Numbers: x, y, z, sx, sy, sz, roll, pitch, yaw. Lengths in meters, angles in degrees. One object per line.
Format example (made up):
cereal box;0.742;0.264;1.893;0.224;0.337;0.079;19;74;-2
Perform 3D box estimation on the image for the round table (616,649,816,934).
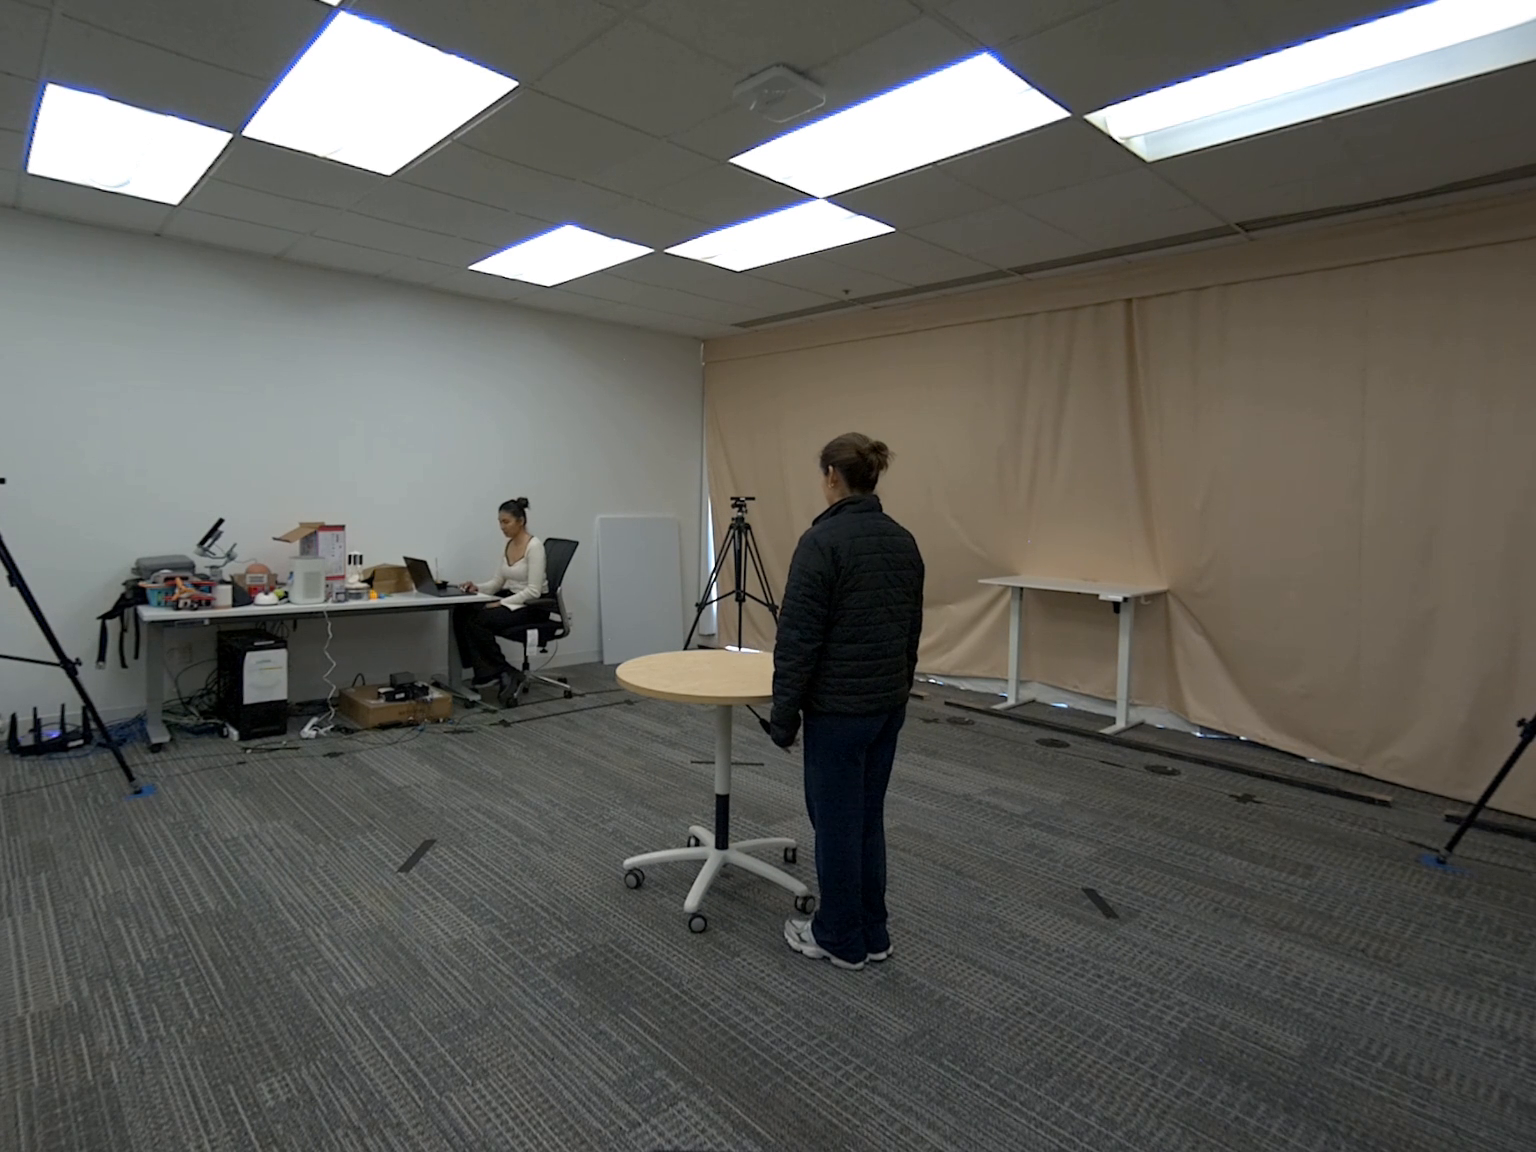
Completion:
round table;-0.168;0.727;2.979;0.784;0.784;0.788;1;4;-1
